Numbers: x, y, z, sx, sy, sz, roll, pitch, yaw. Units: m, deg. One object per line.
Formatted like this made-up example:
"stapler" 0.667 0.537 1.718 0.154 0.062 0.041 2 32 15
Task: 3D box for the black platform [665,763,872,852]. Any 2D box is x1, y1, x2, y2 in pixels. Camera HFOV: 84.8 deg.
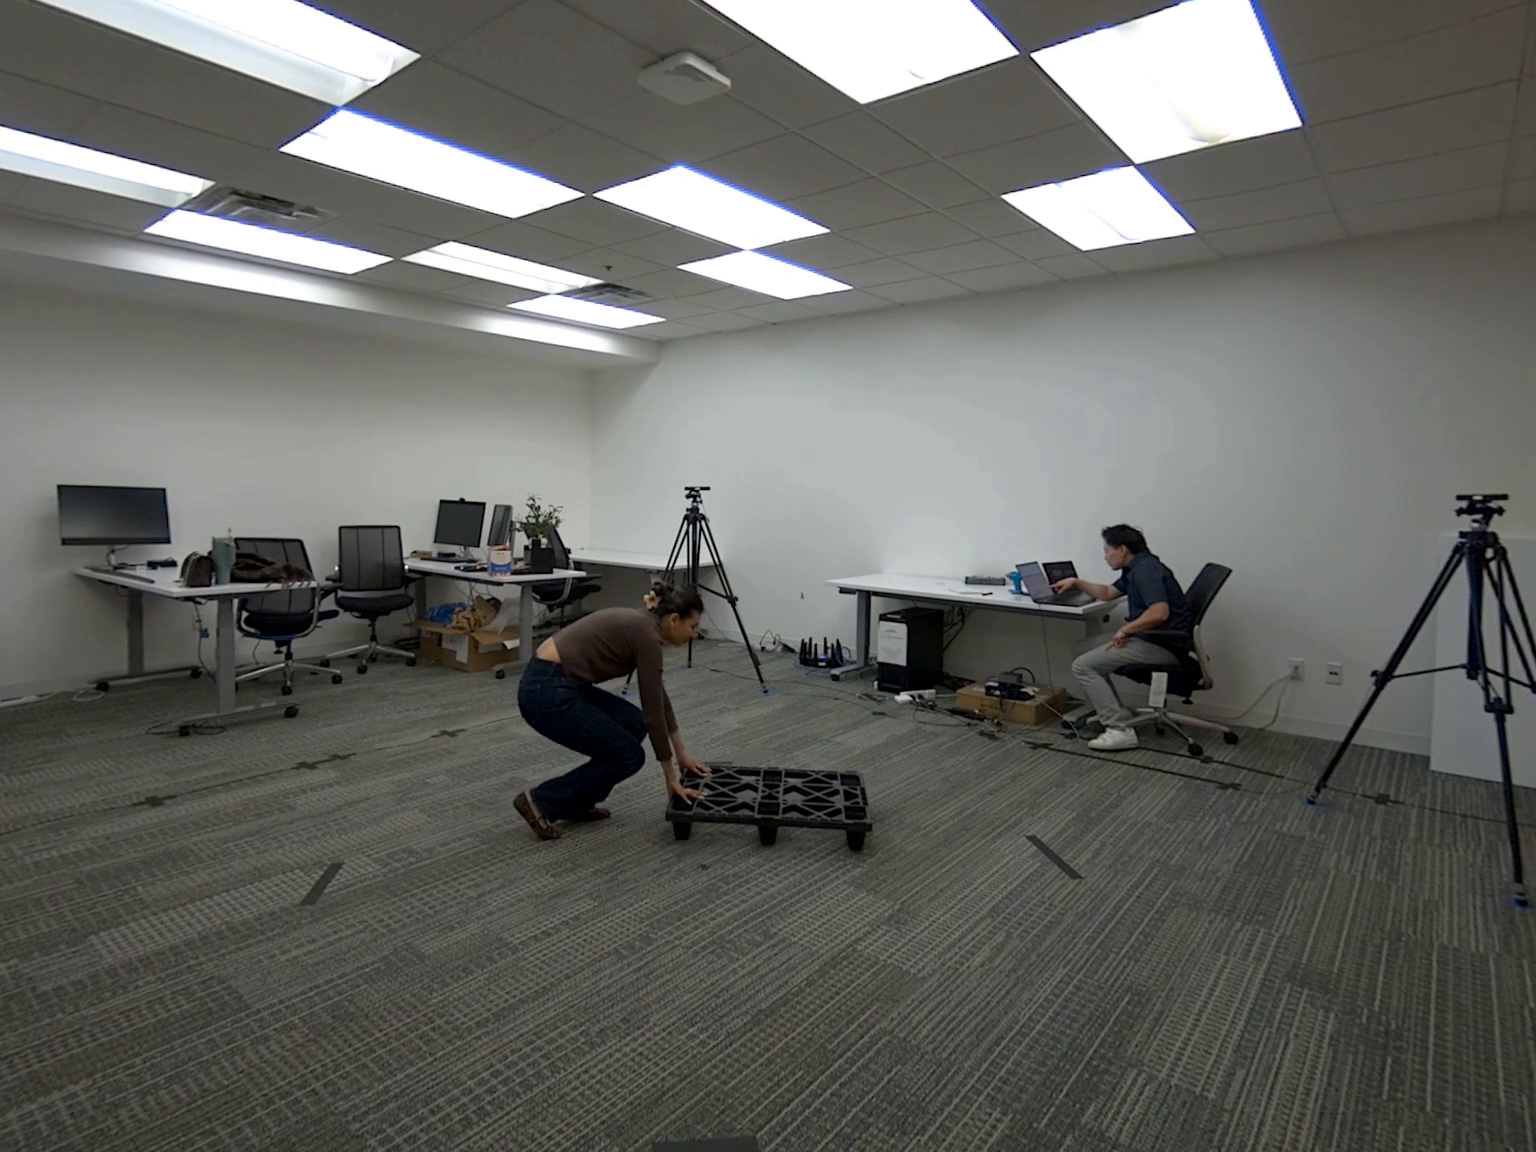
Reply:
"black platform" -0.001 0.958 3.550 0.811 0.143 0.603 1 5 5
